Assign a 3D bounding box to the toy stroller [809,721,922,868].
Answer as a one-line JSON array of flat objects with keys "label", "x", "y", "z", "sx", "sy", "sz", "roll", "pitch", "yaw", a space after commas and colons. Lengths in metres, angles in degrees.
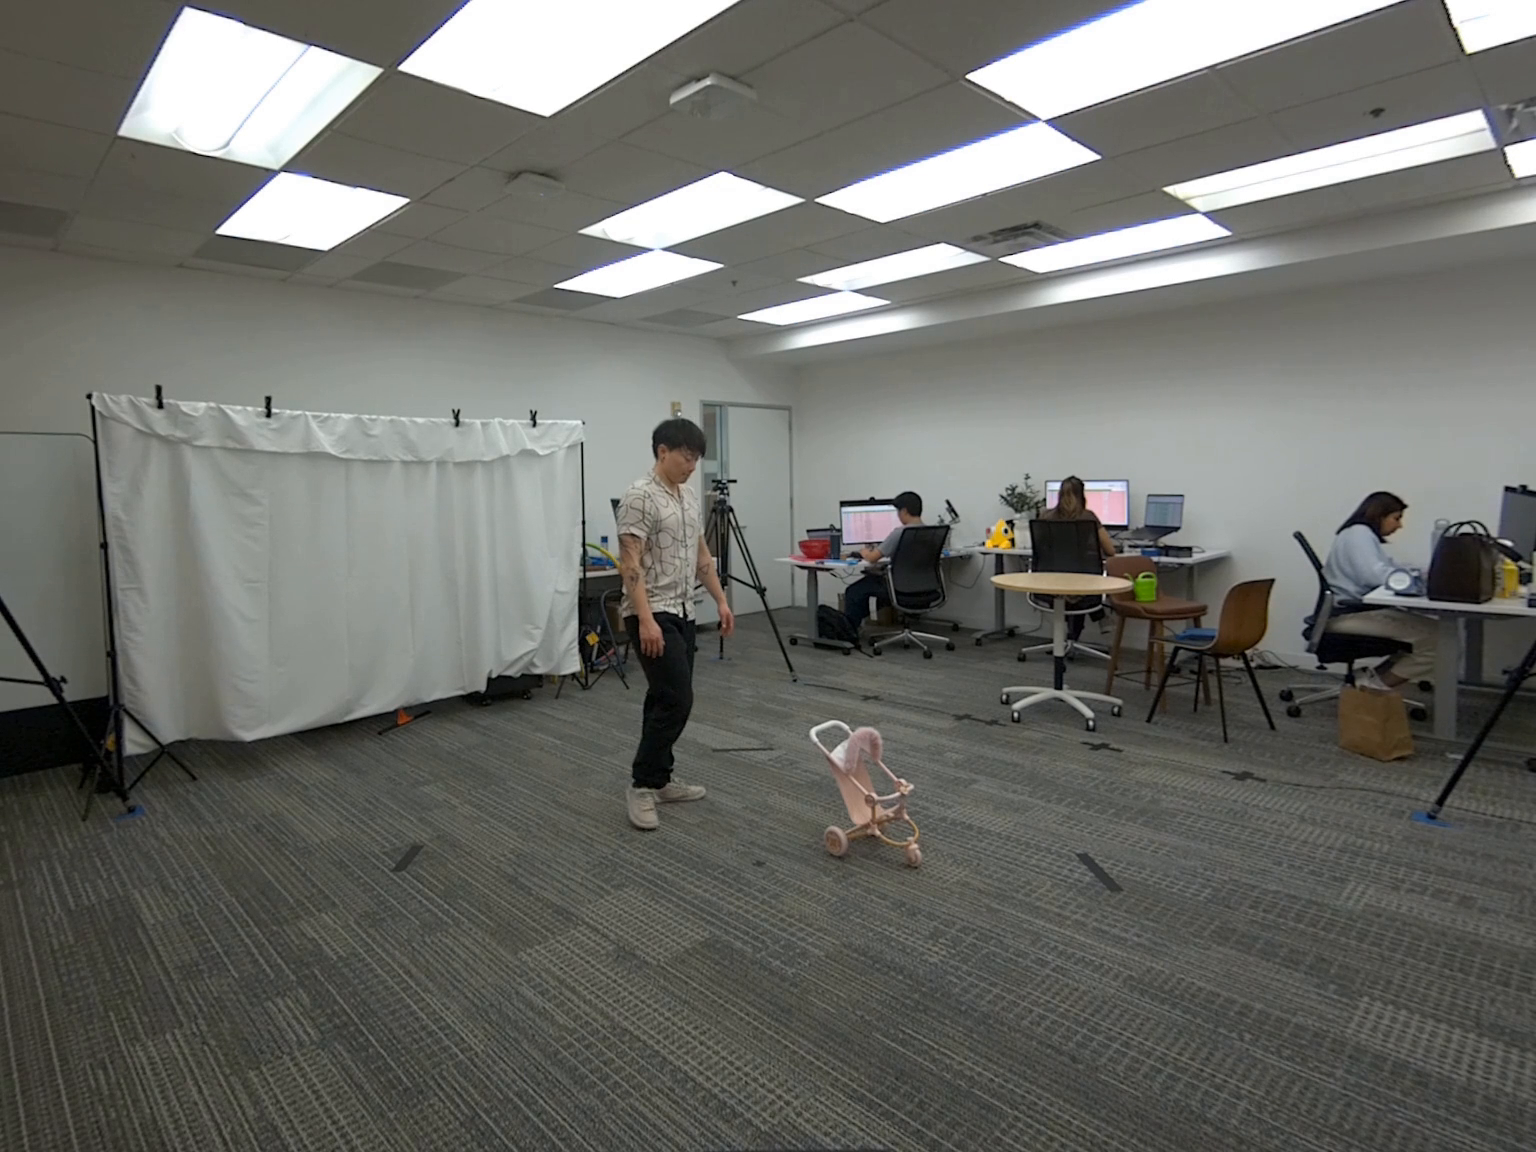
[{"label": "toy stroller", "x": 0.379, "y": 0.804, "z": 3.191, "sx": 0.274, "sy": 0.540, "sz": 0.347, "roll": -5, "pitch": -10, "yaw": -41}]
